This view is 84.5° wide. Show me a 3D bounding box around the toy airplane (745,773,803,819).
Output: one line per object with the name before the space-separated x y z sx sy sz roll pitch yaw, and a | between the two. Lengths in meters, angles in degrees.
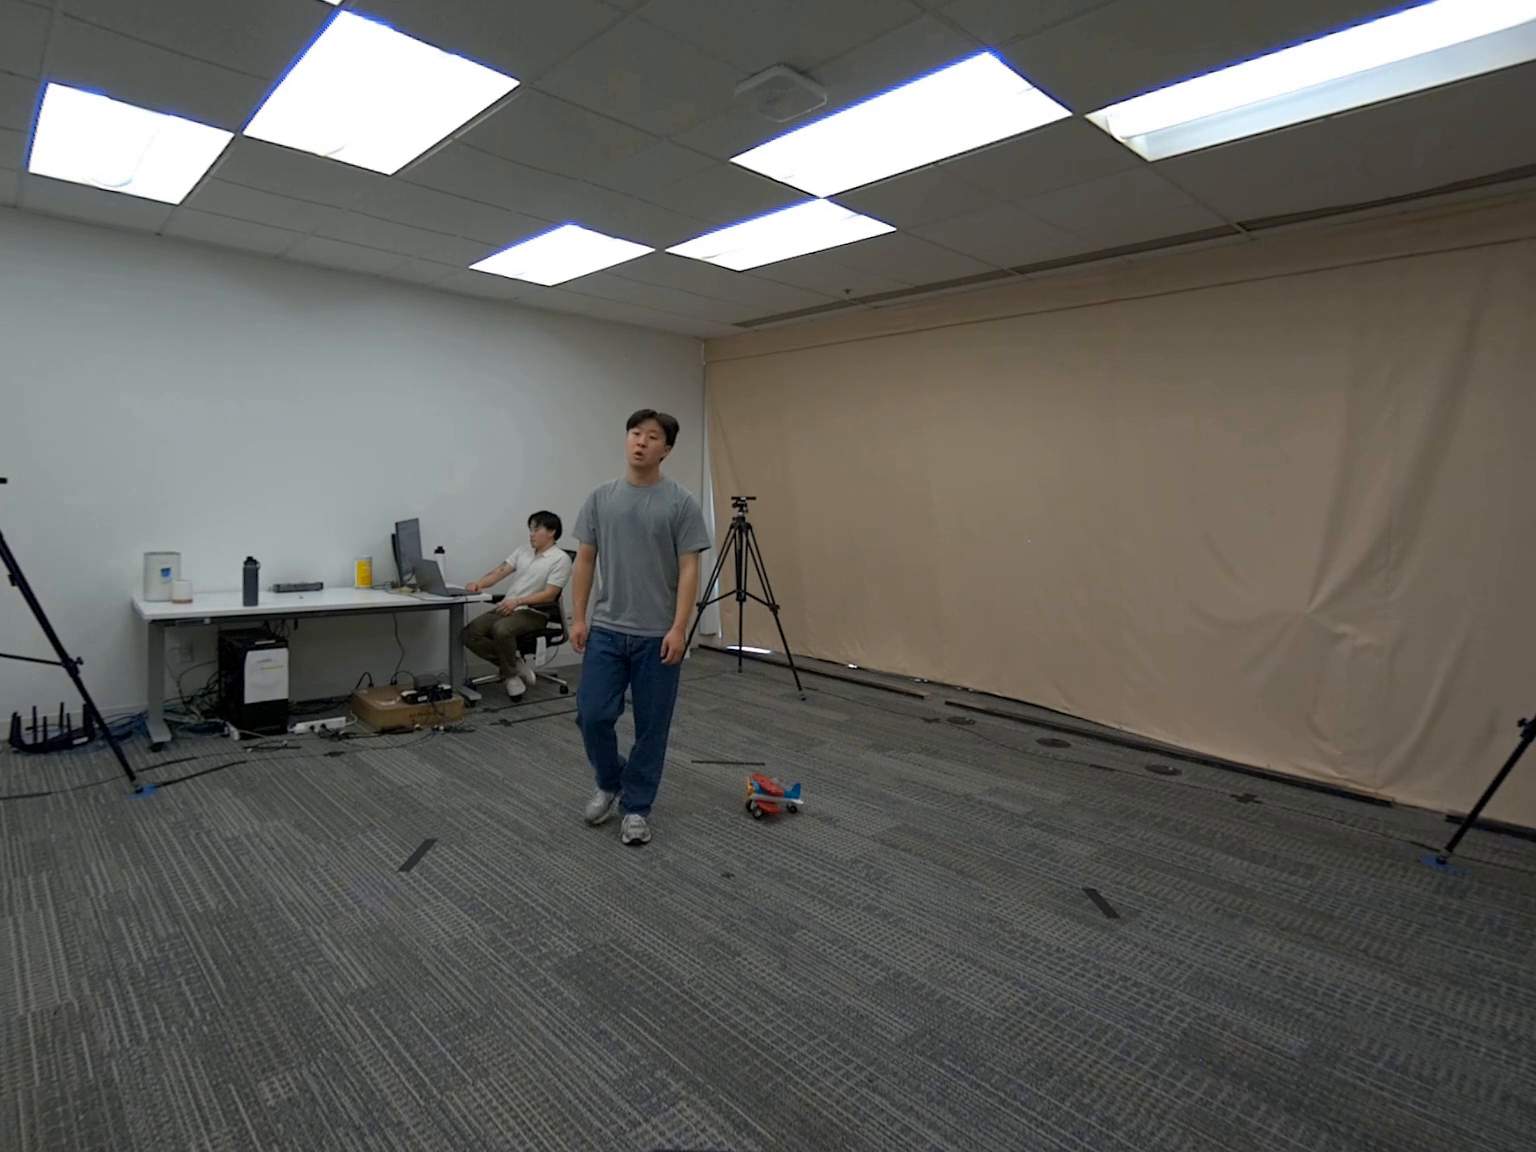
toy airplane | 0.008 0.982 3.759 0.257 0.156 0.253 6 7 42
